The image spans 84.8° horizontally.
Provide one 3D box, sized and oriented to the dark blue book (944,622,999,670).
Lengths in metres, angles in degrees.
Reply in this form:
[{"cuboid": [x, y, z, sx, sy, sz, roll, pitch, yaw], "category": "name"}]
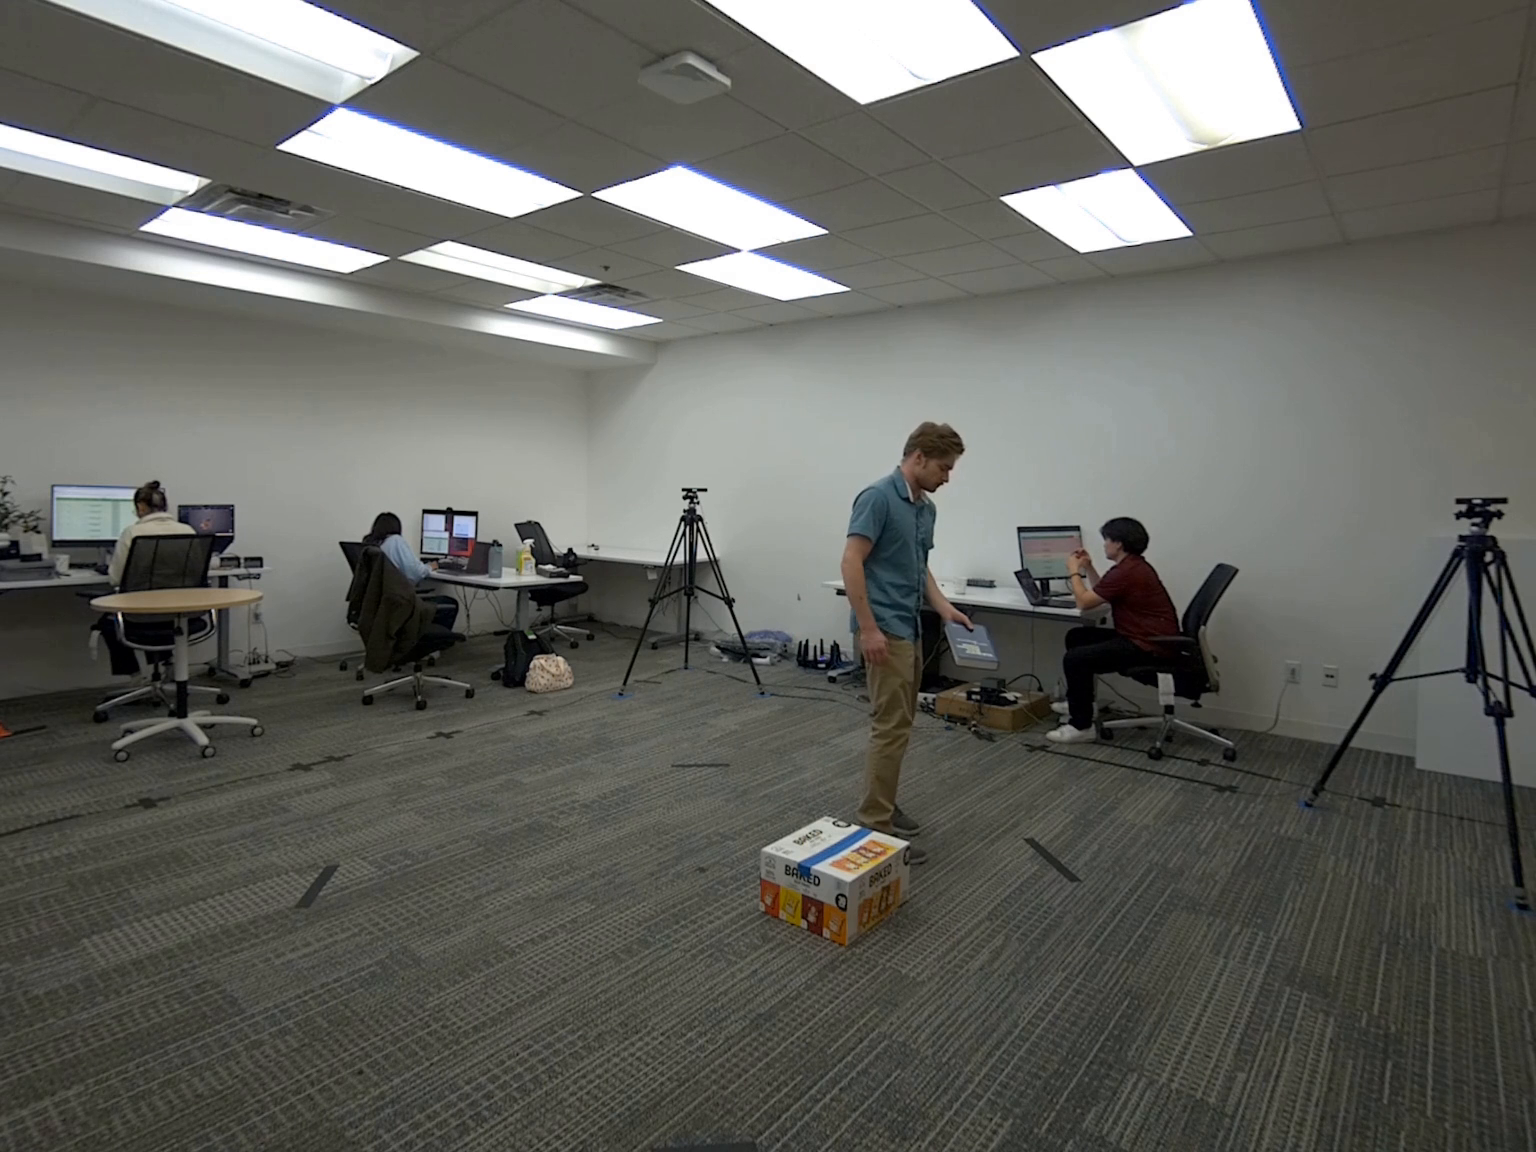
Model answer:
[{"cuboid": [0.794, 0.267, 3.319, 0.163, 0.044, 0.251, 5, 29, -4], "category": "dark blue book"}]
